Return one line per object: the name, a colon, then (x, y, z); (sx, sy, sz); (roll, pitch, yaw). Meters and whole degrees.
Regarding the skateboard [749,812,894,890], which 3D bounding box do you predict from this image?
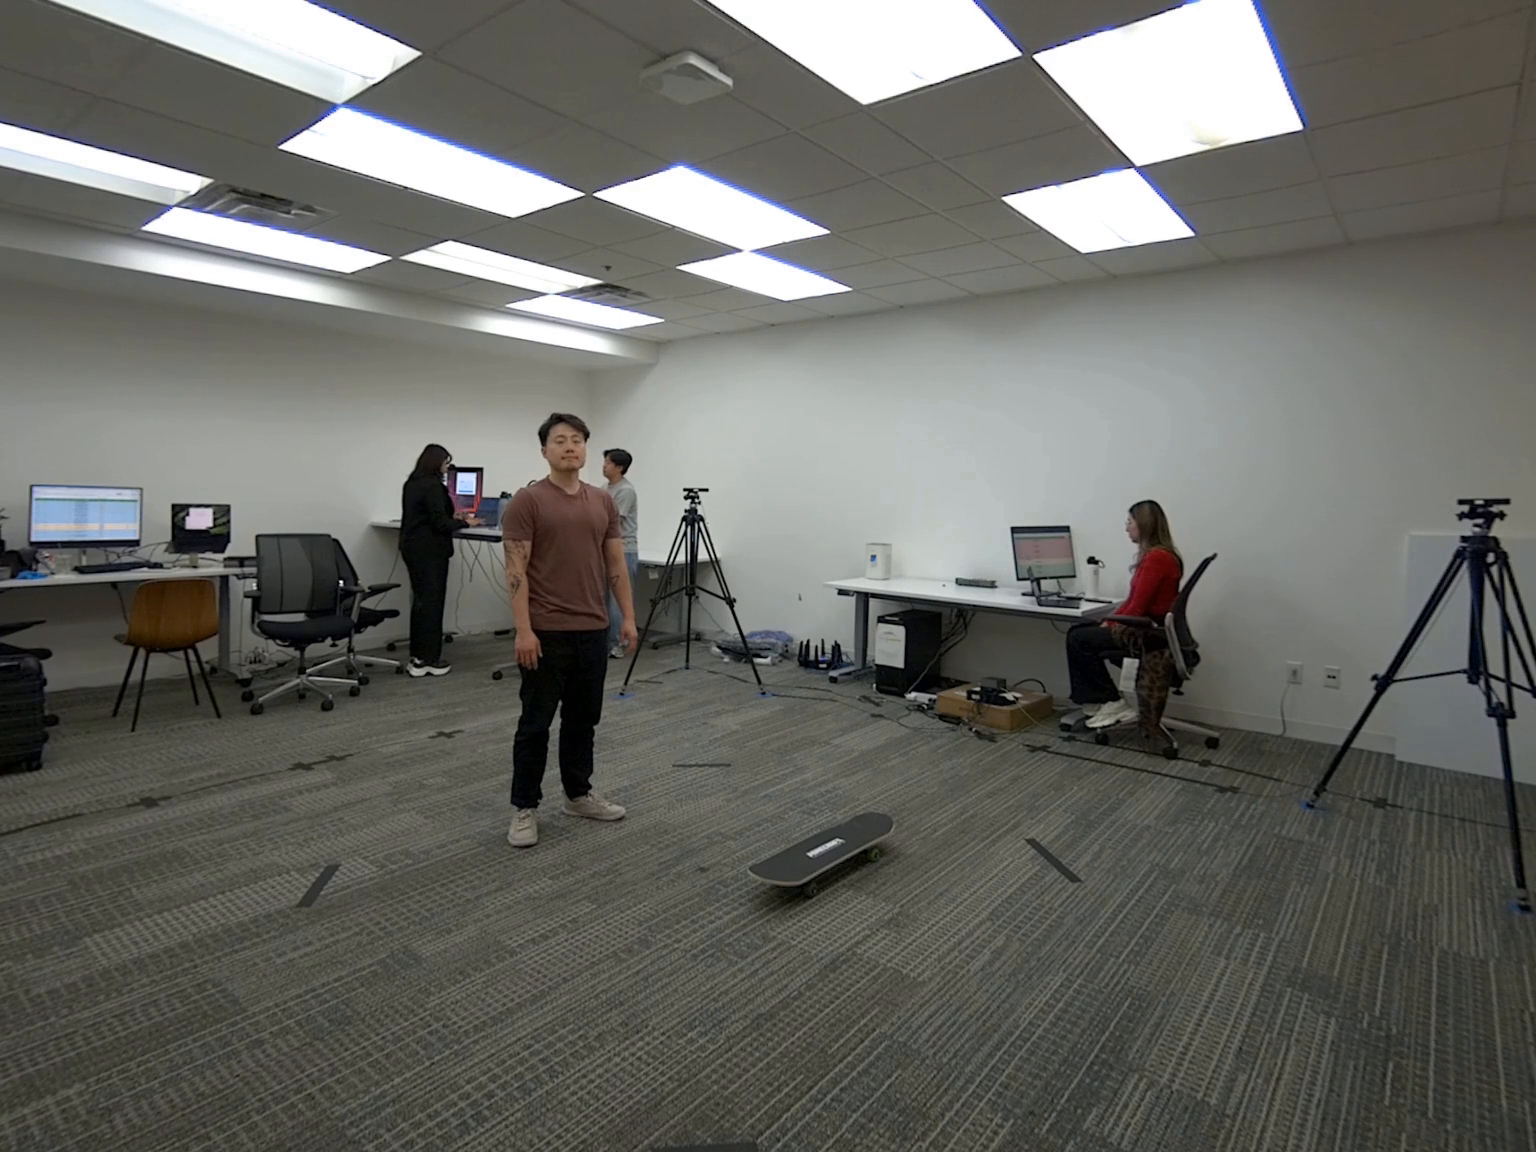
skateboard: (0.205, 1.023, 3.114); (0.200, 0.110, 0.762); (4, 6, 41)
